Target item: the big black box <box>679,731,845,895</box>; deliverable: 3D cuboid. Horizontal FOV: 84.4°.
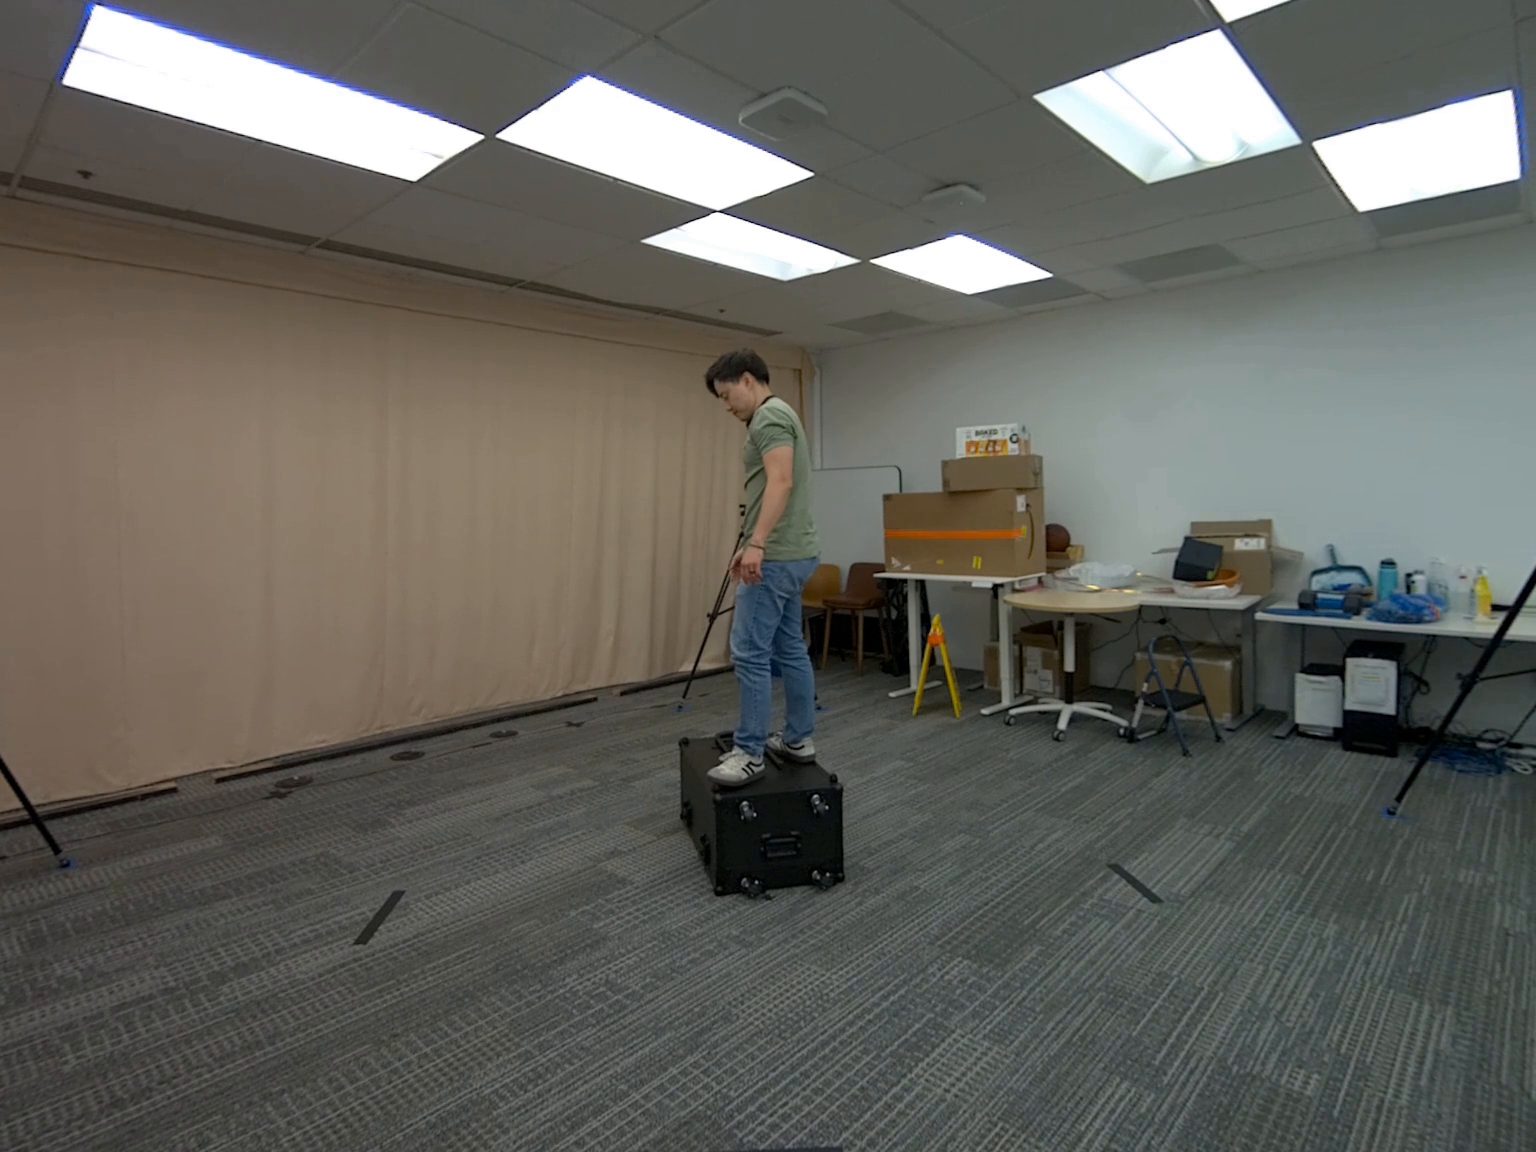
[{"bbox_3d":[-0.041,0.913,3.383,0.514,0.395,0.877,-2,6,-15],"label":"big black box"}]
